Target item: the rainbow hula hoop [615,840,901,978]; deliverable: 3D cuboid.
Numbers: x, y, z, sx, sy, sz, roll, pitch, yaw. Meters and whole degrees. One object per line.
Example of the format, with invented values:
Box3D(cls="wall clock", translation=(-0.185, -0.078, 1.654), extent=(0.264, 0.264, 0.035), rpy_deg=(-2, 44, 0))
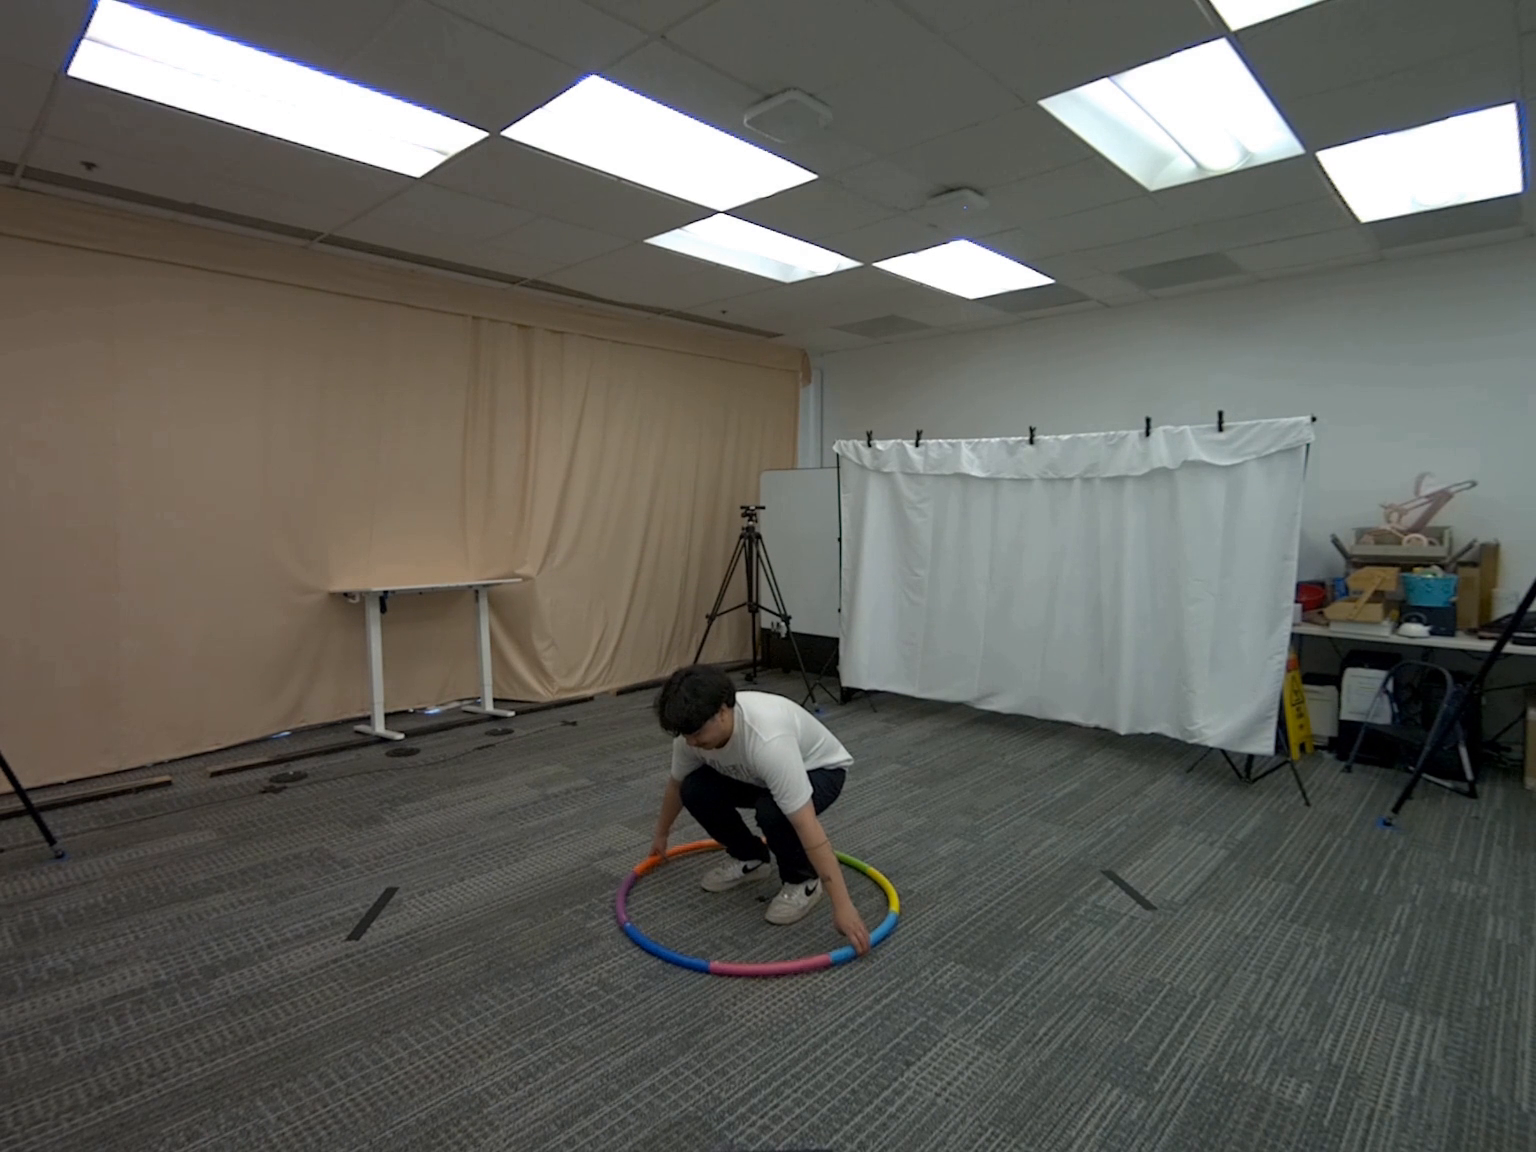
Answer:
Box3D(cls="rainbow hula hoop", translation=(-0.036, 1.108, 2.961), extent=(0.984, 0.051, 0.988), rpy_deg=(0, 4, -2))
